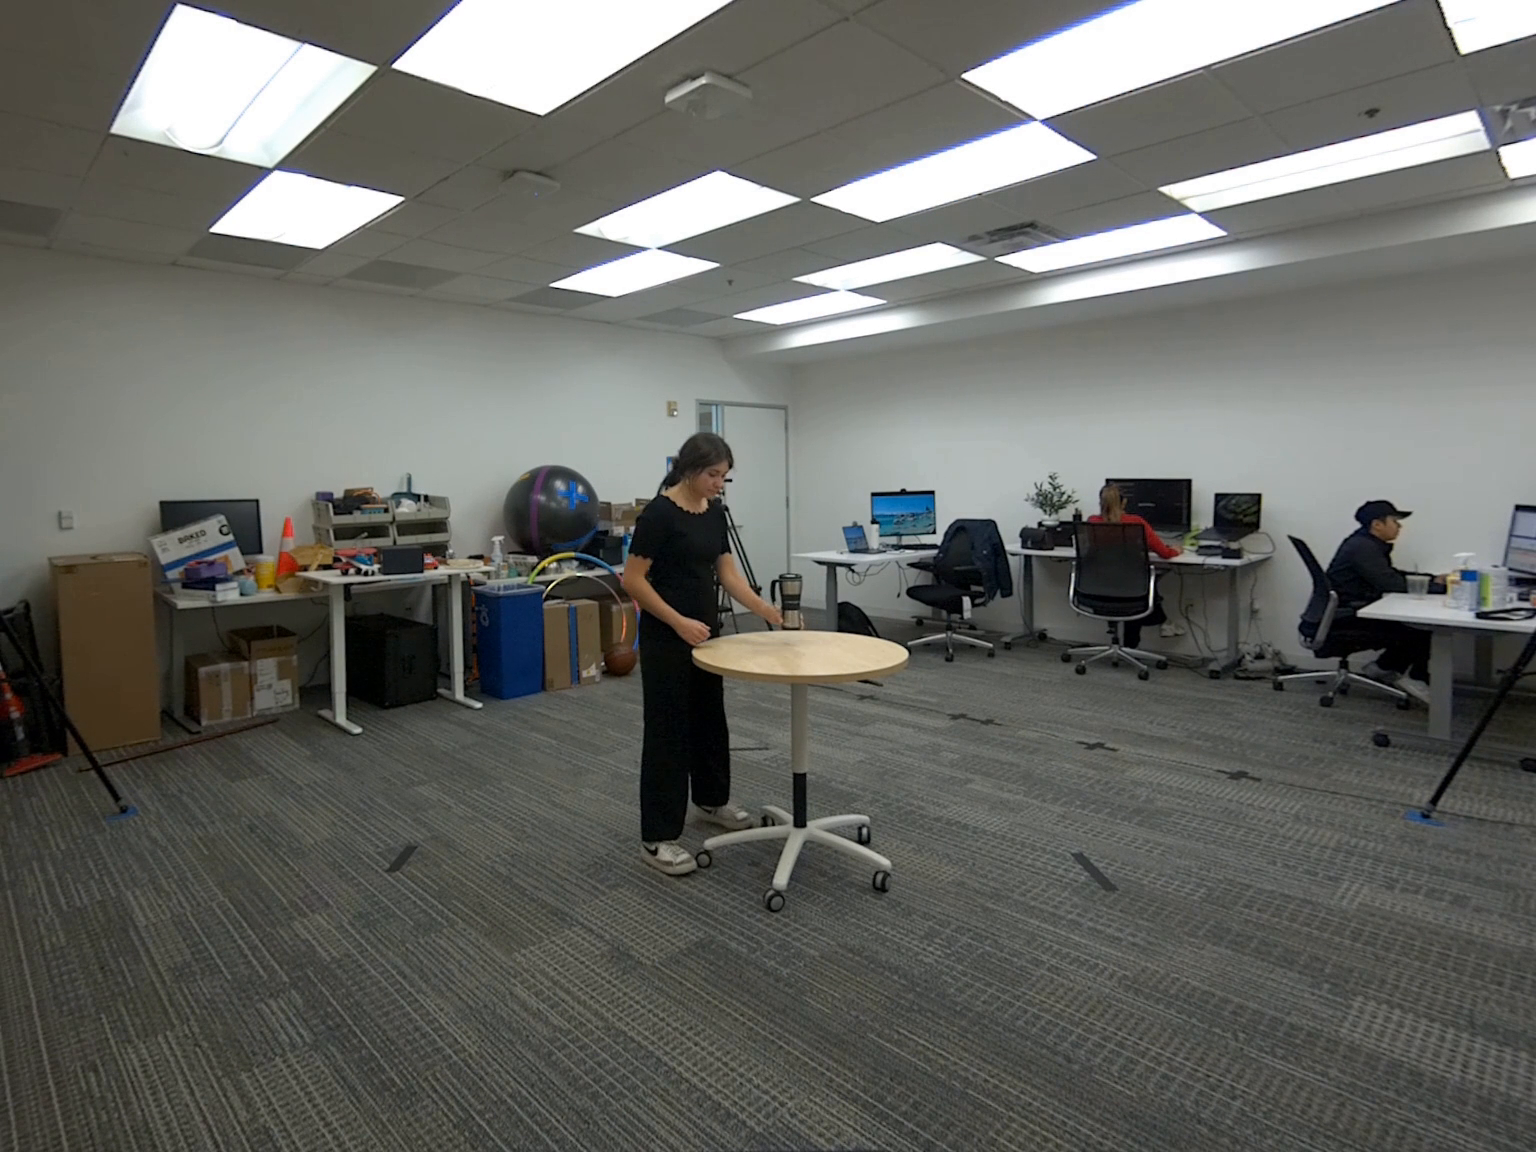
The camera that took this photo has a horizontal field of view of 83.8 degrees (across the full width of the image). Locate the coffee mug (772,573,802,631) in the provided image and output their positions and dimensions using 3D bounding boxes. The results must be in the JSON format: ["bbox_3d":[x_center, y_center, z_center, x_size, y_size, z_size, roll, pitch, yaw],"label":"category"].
[{"bbox_3d":[0.068,0.100,3.149,0.086,0.202,0.125,-2,6,-24],"label":"coffee mug"}]
